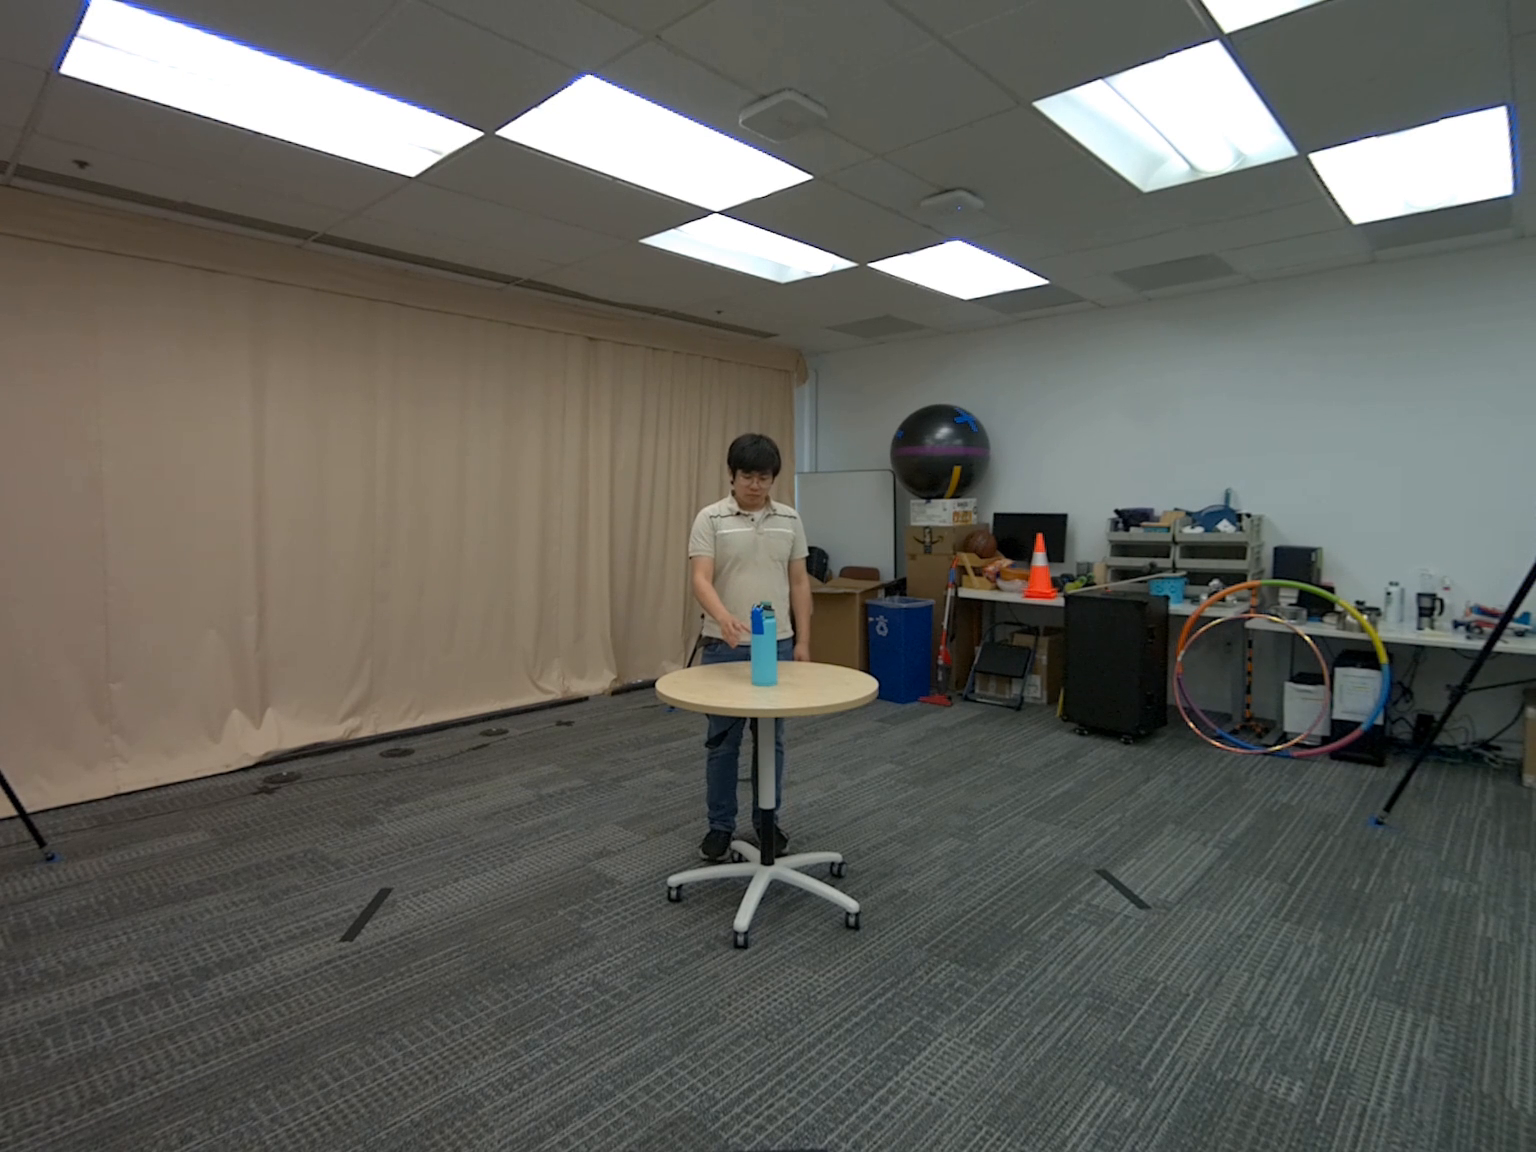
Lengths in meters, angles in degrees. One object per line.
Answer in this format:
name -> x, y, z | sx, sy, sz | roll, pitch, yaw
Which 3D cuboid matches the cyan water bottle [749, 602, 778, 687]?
cyan water bottle -> -0.016, 0.229, 2.885 | 0.092, 0.283, 0.092 | -2, 3, -2
